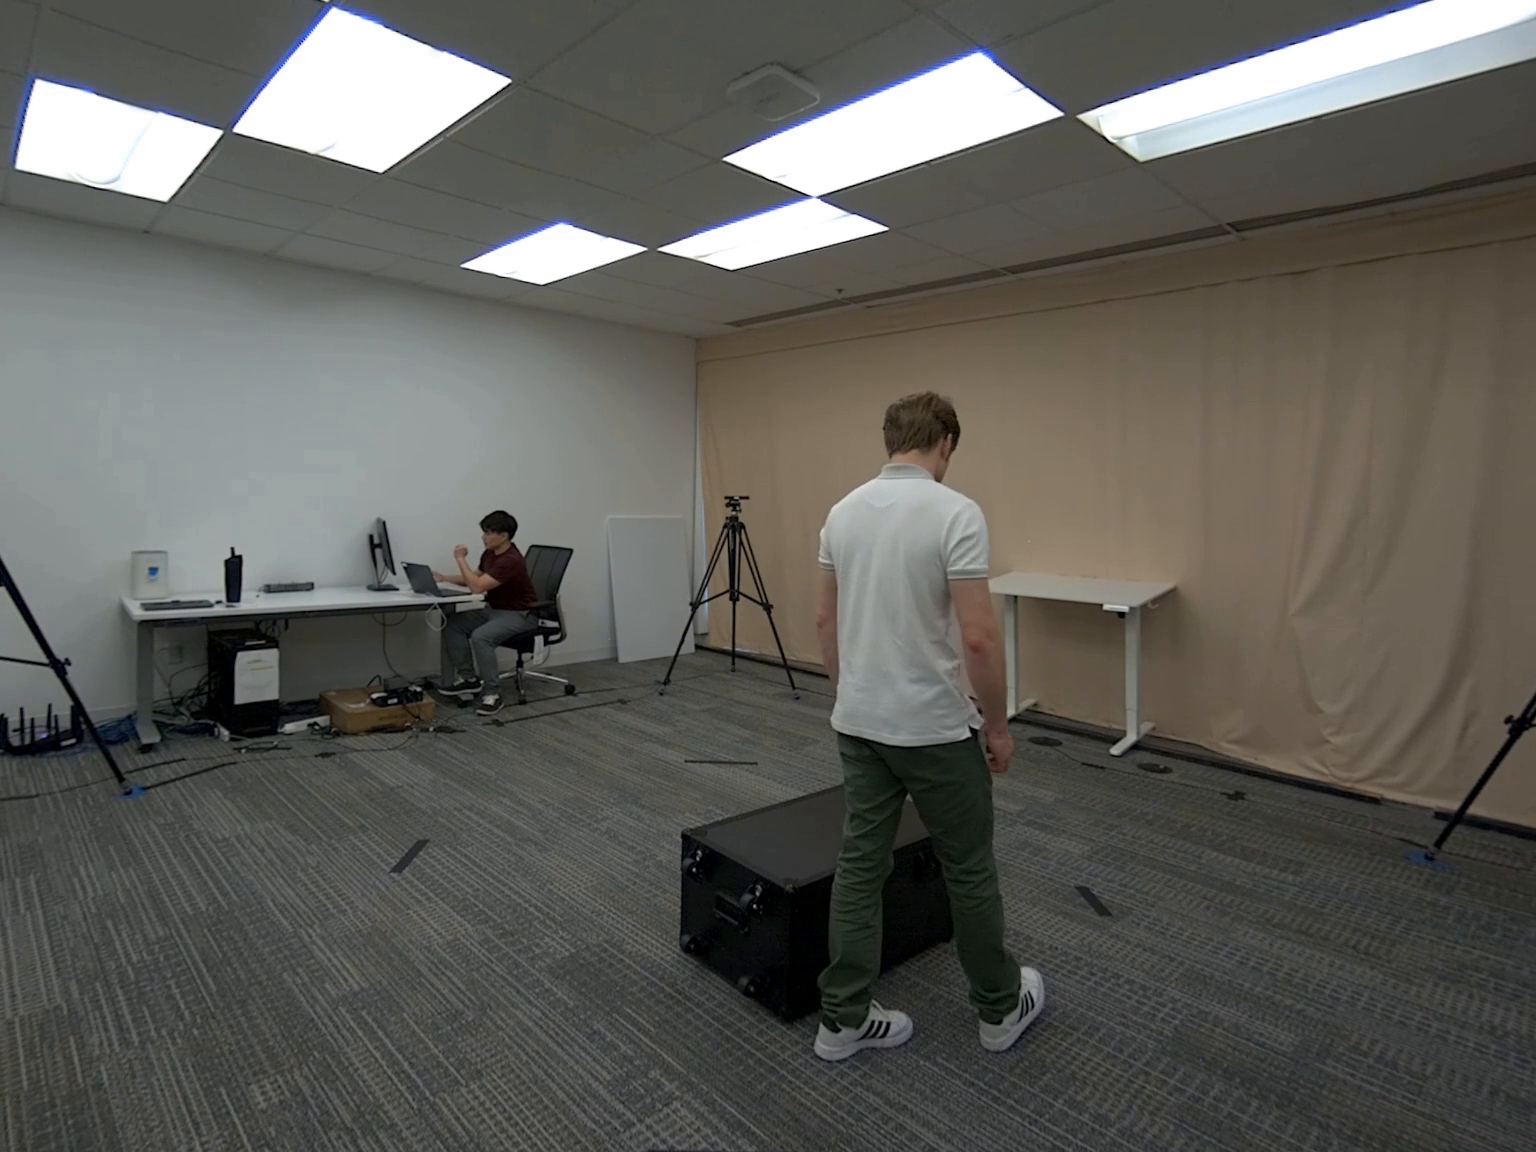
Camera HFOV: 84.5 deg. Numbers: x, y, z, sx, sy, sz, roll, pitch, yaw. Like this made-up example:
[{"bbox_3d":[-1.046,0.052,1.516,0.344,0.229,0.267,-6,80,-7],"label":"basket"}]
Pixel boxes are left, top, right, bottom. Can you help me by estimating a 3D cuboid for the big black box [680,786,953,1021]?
[{"bbox_3d":[0.151,0.965,2.611,0.842,0.395,0.535,-2,6,-41],"label":"big black box"}]
